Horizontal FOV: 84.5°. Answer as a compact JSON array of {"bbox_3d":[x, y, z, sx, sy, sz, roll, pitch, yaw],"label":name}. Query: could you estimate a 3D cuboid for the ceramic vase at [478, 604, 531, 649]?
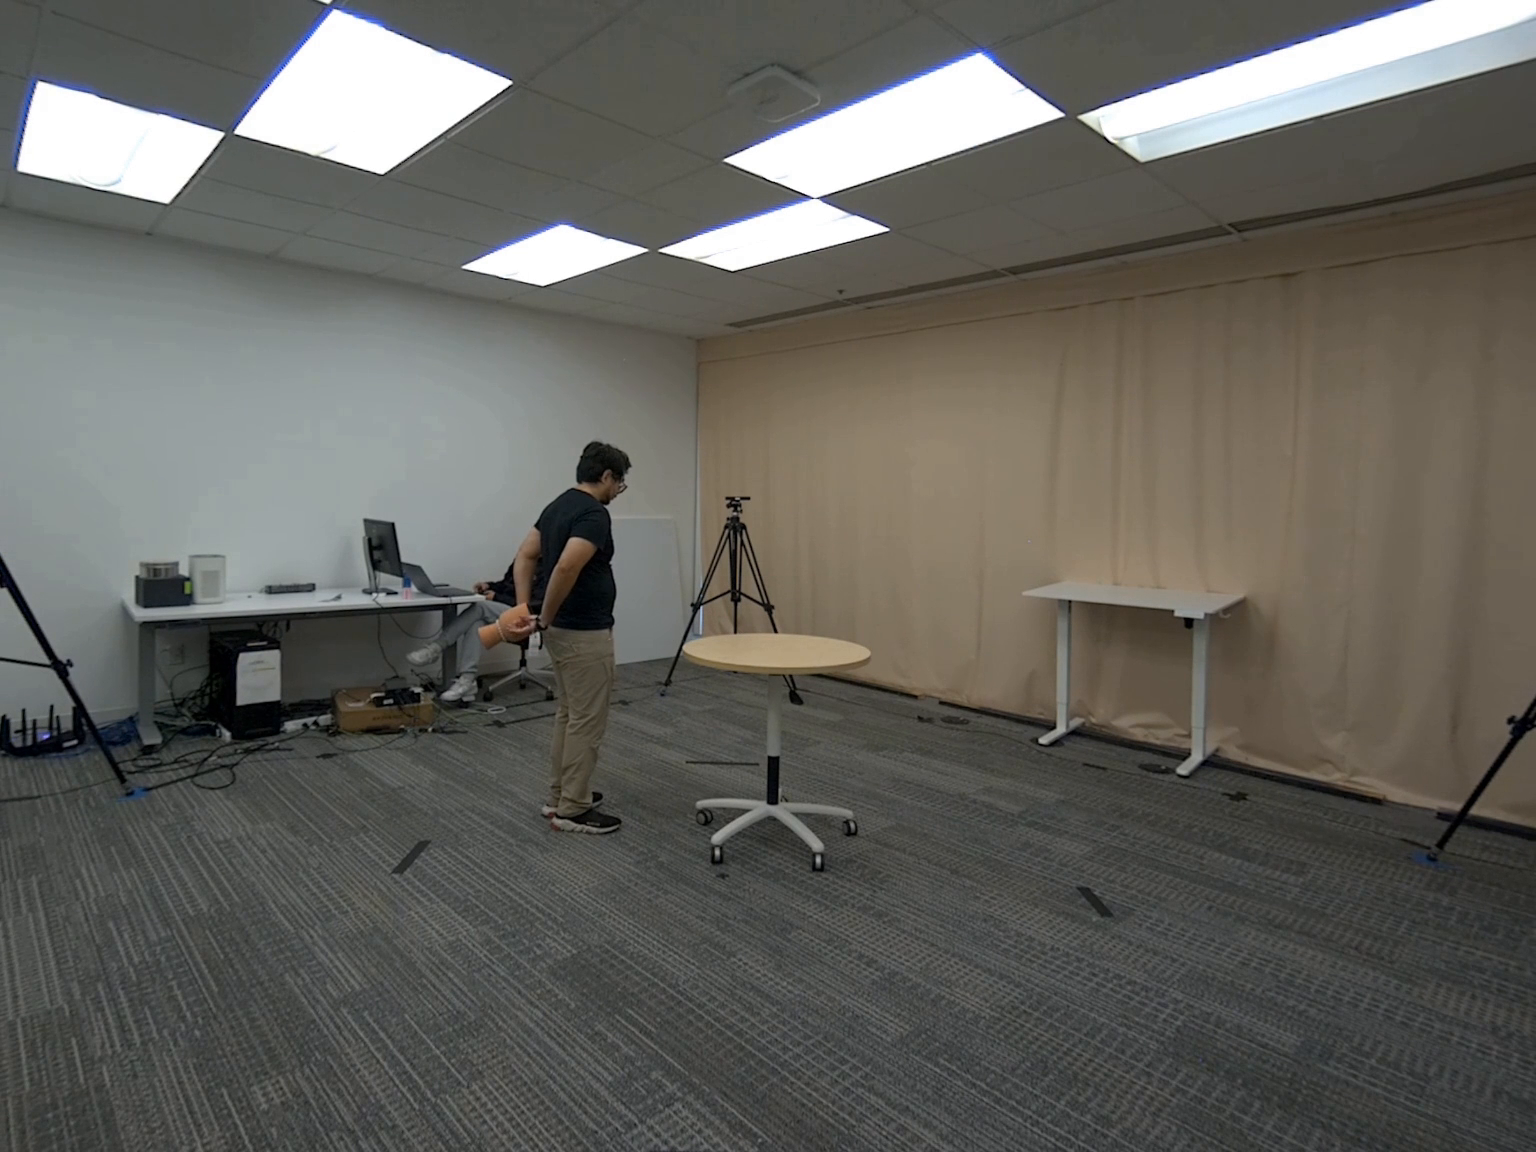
[{"bbox_3d":[-1.083,0.212,3.481,0.219,0.154,0.139,-25,48,-8],"label":"ceramic vase"}]
